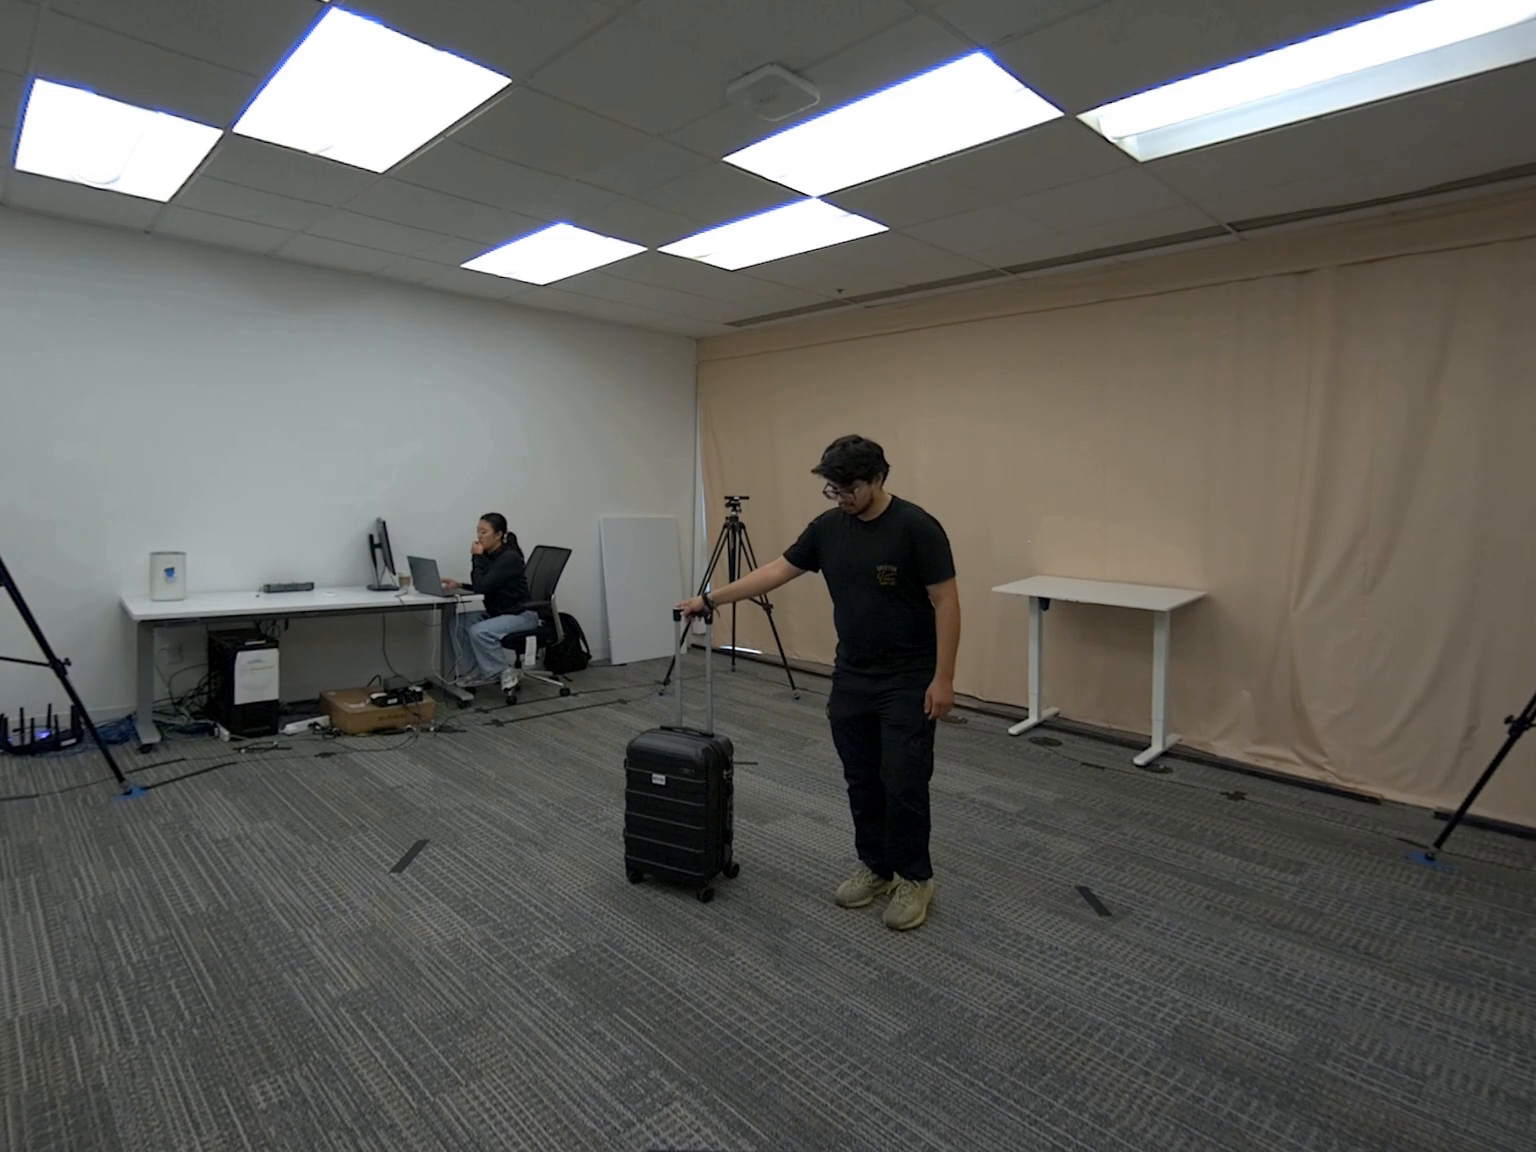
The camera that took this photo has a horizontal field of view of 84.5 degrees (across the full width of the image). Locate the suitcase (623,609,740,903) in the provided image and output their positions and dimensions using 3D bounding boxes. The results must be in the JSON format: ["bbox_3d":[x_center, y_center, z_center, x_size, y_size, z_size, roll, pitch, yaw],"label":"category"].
[{"bbox_3d":[-0.319,0.630,3.009,0.391,0.973,0.253,3,8,24],"label":"suitcase"}]
